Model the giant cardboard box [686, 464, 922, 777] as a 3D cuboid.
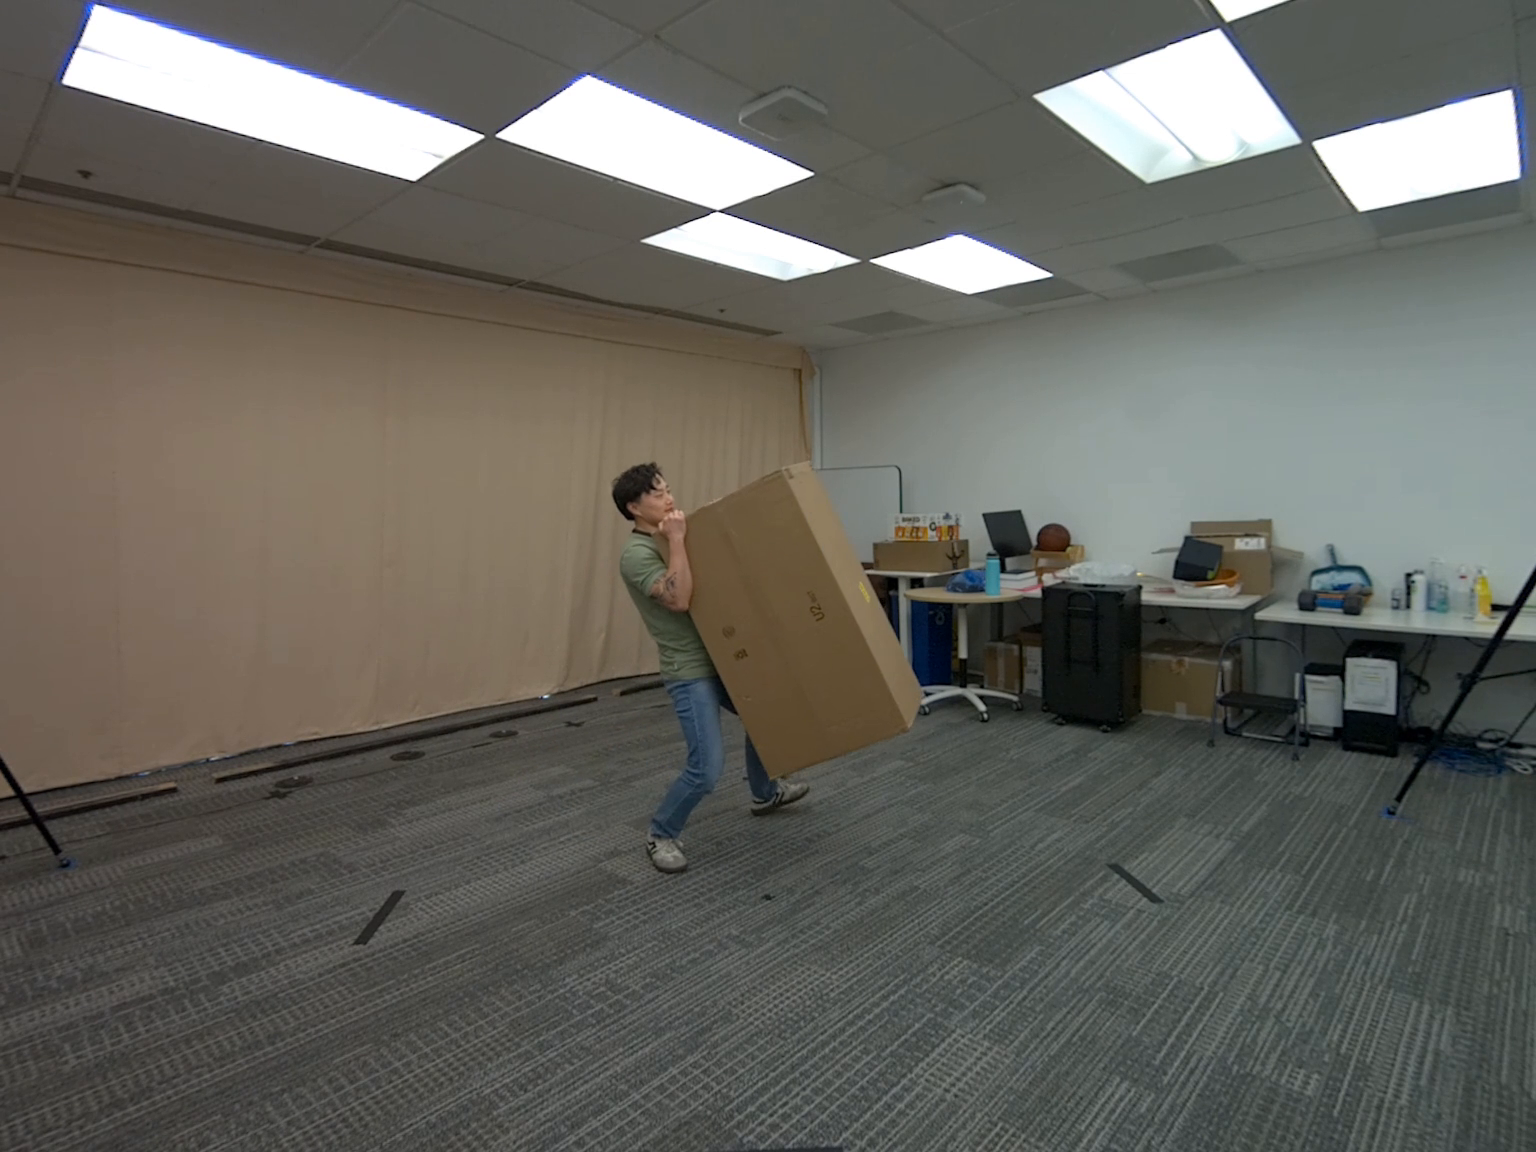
[{"bbox_3d":[0.097,0.161,3.232,0.585,1.027,0.420,-26,-1,21],"label":"giant cardboard box"}]
